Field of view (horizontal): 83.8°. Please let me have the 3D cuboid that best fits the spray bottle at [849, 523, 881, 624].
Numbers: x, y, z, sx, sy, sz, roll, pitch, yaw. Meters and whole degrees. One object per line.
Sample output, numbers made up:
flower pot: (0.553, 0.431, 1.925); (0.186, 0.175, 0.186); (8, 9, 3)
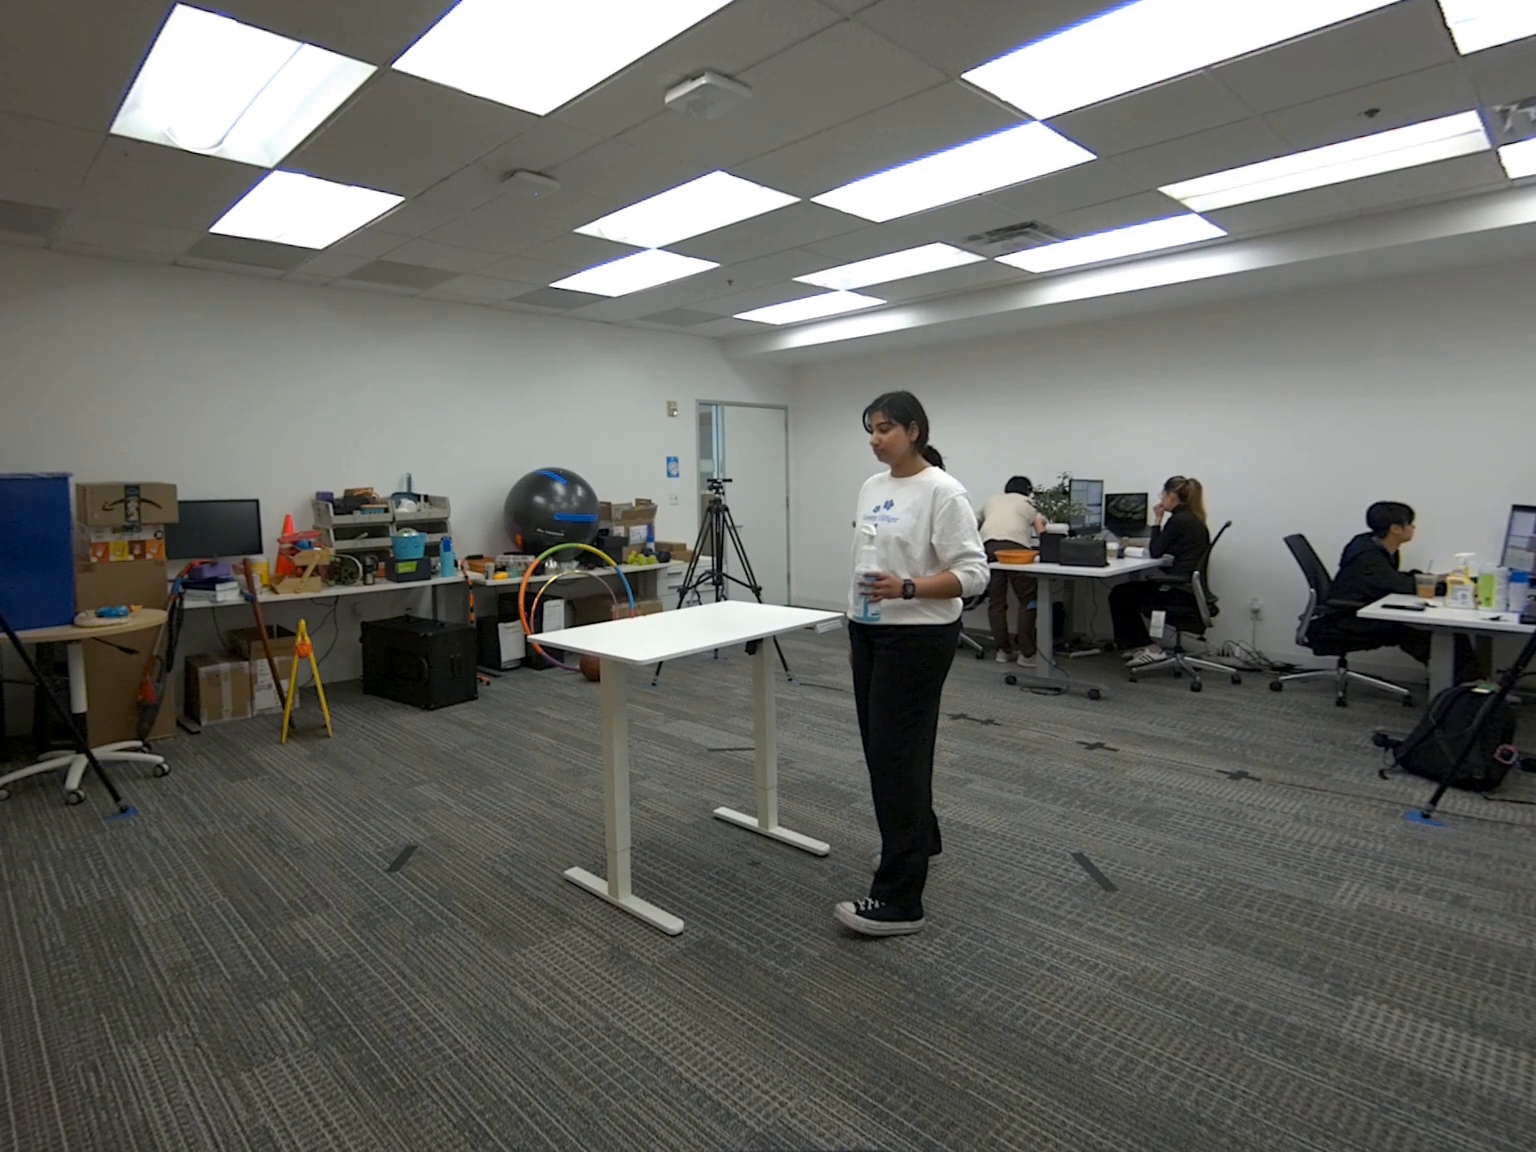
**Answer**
spray bottle: (0.316, -0.010, 2.647); (0.088, 0.297, 0.089); (4, 1, 10)
